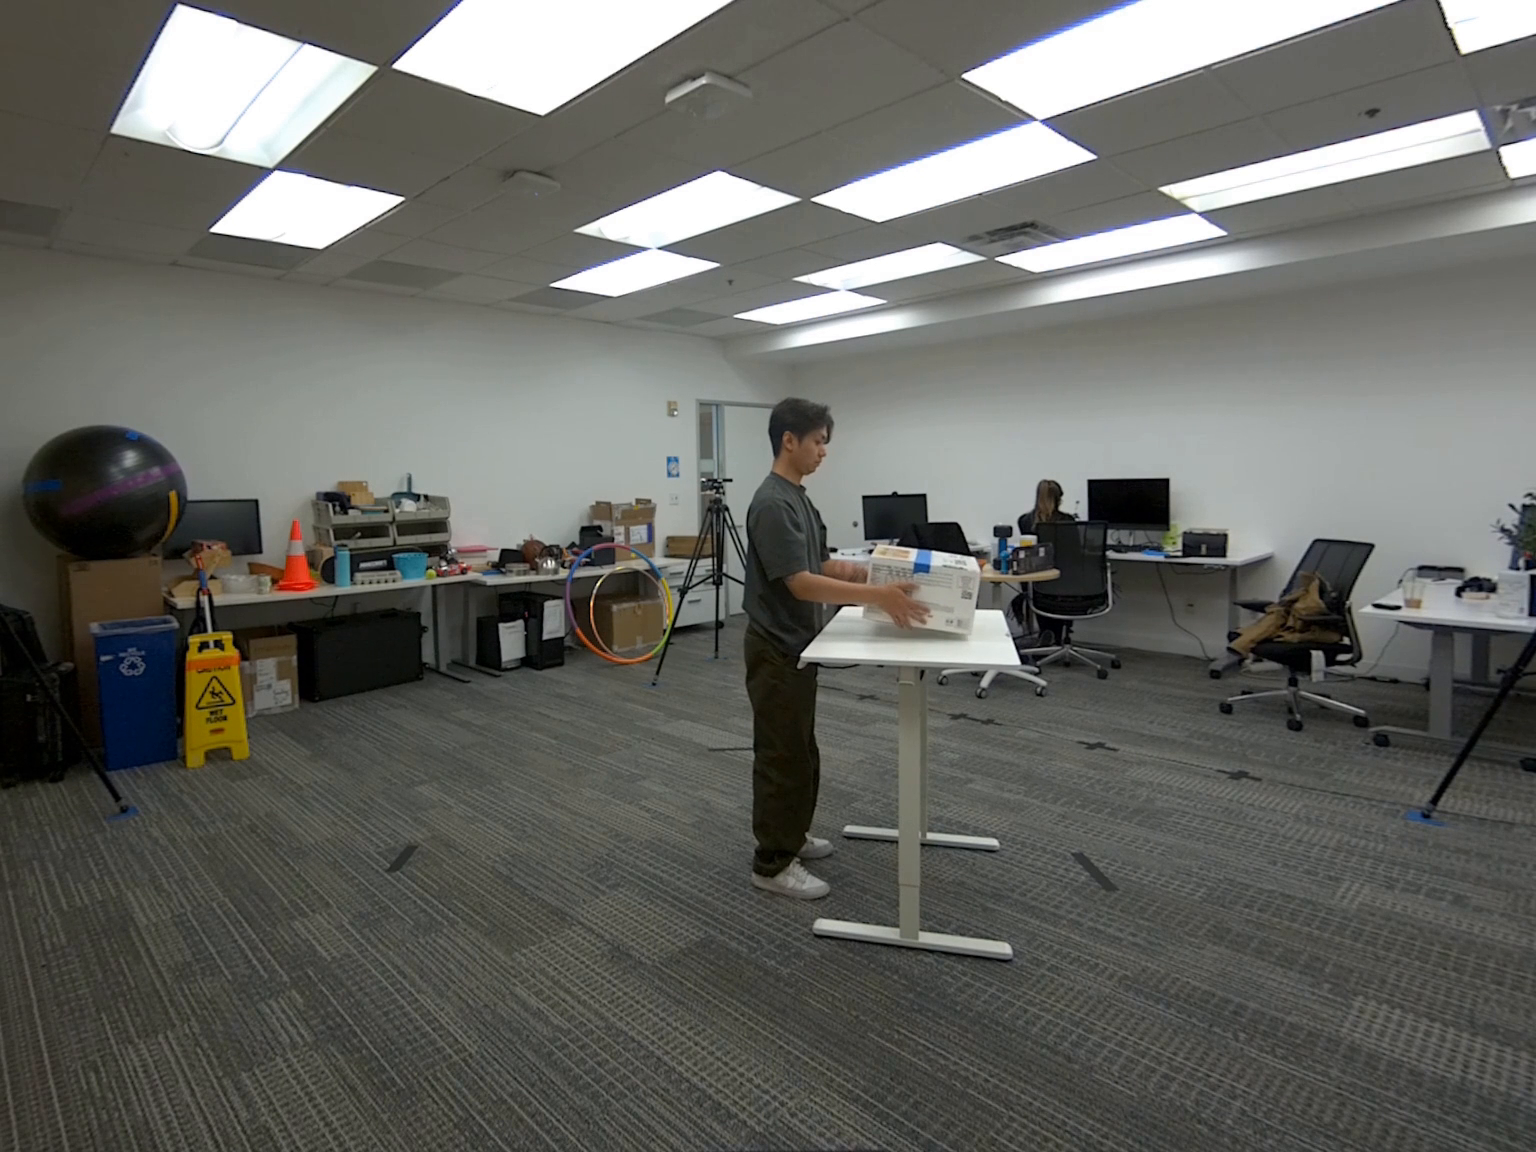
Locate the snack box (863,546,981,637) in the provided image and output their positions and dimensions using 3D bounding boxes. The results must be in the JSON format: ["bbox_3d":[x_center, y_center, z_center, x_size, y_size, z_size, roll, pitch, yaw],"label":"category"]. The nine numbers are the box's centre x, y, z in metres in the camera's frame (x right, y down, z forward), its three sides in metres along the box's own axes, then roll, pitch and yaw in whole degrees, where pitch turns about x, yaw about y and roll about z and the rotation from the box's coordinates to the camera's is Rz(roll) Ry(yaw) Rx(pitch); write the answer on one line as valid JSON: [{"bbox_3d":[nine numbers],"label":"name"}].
[{"bbox_3d":[0.510,0.035,2.853,0.345,0.204,0.402,8,9,11],"label":"snack box"}]
